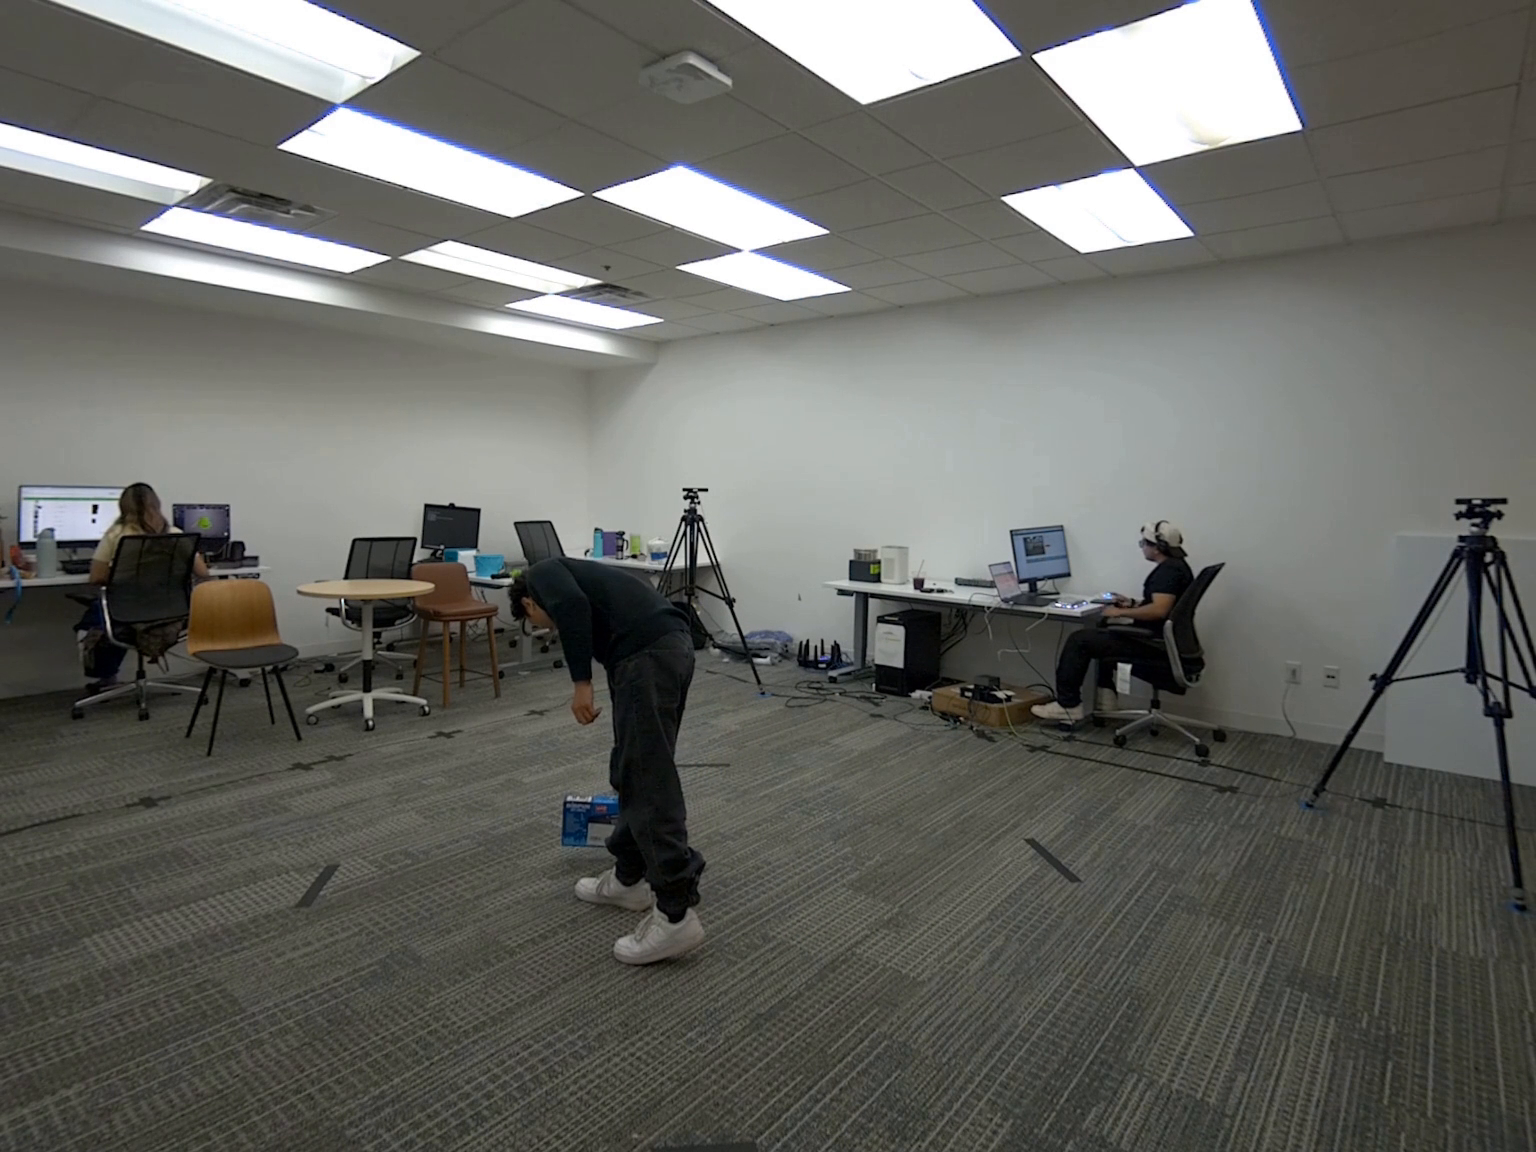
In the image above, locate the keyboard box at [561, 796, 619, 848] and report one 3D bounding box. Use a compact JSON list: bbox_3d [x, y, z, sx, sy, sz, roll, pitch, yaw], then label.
[{"bbox_3d":[-0.556,0.916,3.164,0.436,0.175,0.059,2,4,-1],"label":"keyboard box"}]
